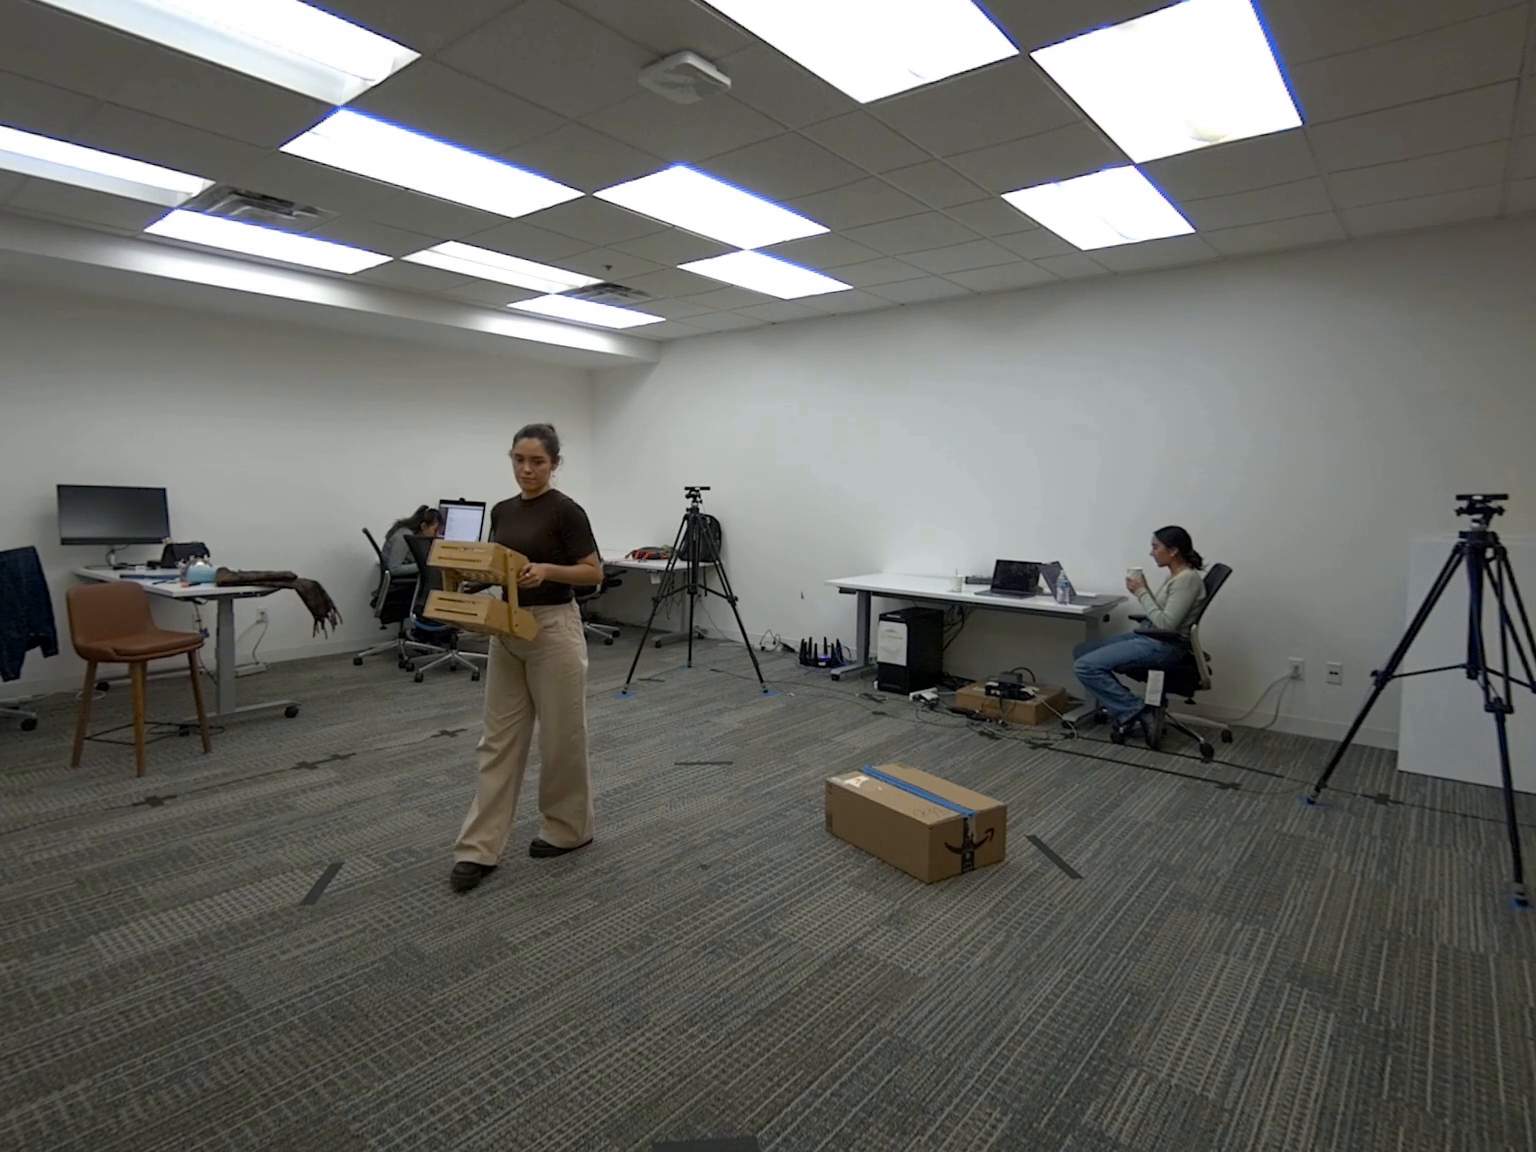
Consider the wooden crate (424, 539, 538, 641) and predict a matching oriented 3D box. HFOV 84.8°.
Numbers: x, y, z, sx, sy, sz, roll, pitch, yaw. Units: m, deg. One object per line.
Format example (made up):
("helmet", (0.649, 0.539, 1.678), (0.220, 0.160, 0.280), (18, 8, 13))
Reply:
("wooden crate", (-0.992, 0.041, 2.925), (0.334, 0.276, 0.290), (4, -17, 29))
